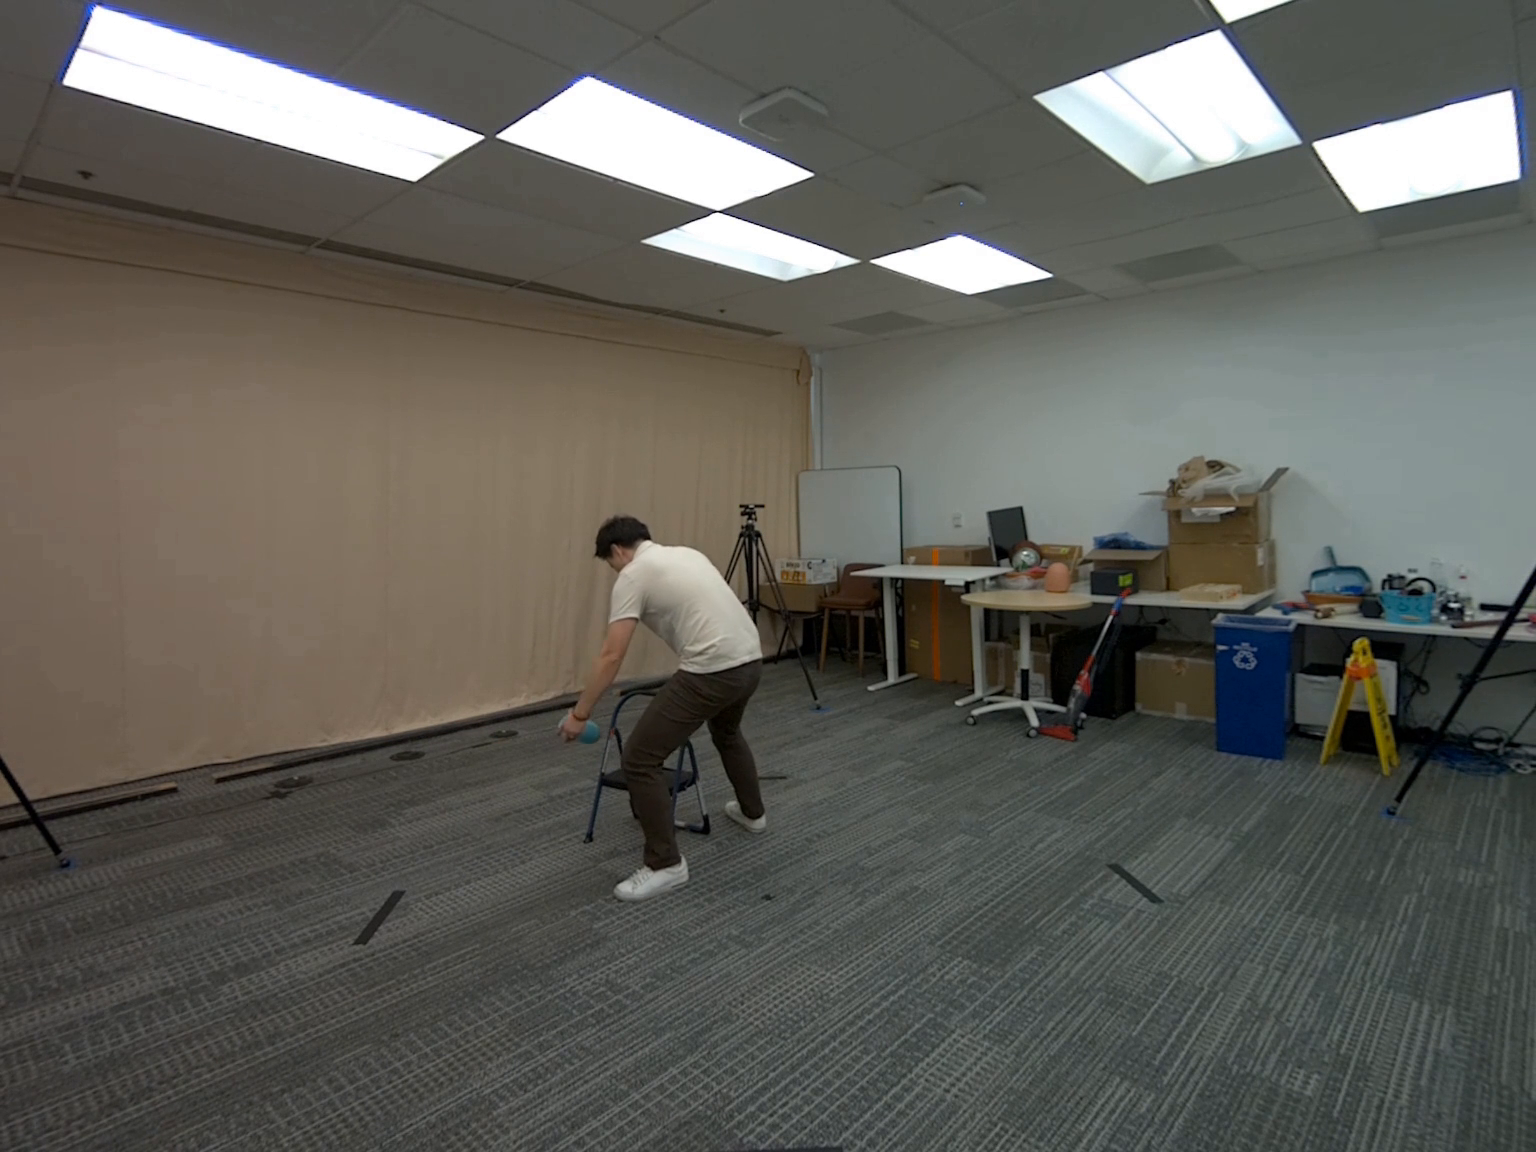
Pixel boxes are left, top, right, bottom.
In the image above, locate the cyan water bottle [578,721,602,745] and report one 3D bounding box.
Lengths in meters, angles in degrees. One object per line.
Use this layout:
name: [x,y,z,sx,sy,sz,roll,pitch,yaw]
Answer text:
cyan water bottle: [-0.716,0.596,3.261,0.093,0.093,0.278,0,-17,5]
